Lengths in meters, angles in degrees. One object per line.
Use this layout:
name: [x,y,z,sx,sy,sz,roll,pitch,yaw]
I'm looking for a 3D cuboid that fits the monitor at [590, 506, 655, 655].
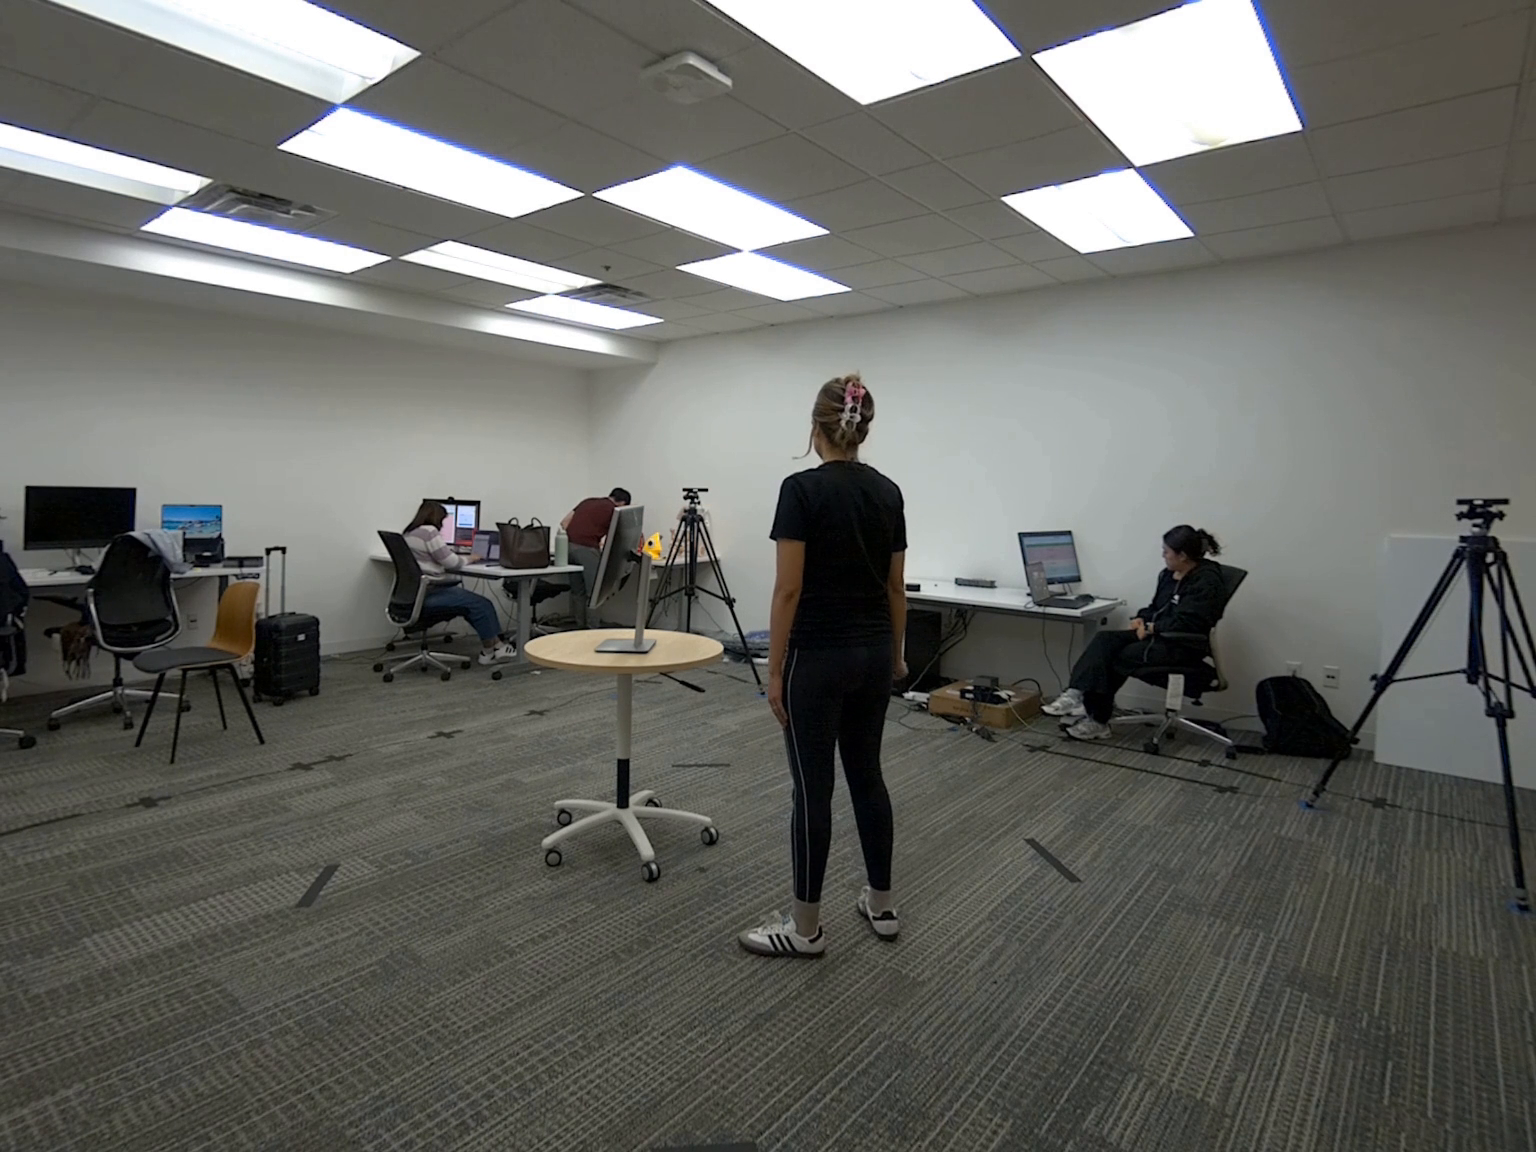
monitor: [-0.547,0.008,3.246,0.187,0.520,0.541,1,5,-1]
